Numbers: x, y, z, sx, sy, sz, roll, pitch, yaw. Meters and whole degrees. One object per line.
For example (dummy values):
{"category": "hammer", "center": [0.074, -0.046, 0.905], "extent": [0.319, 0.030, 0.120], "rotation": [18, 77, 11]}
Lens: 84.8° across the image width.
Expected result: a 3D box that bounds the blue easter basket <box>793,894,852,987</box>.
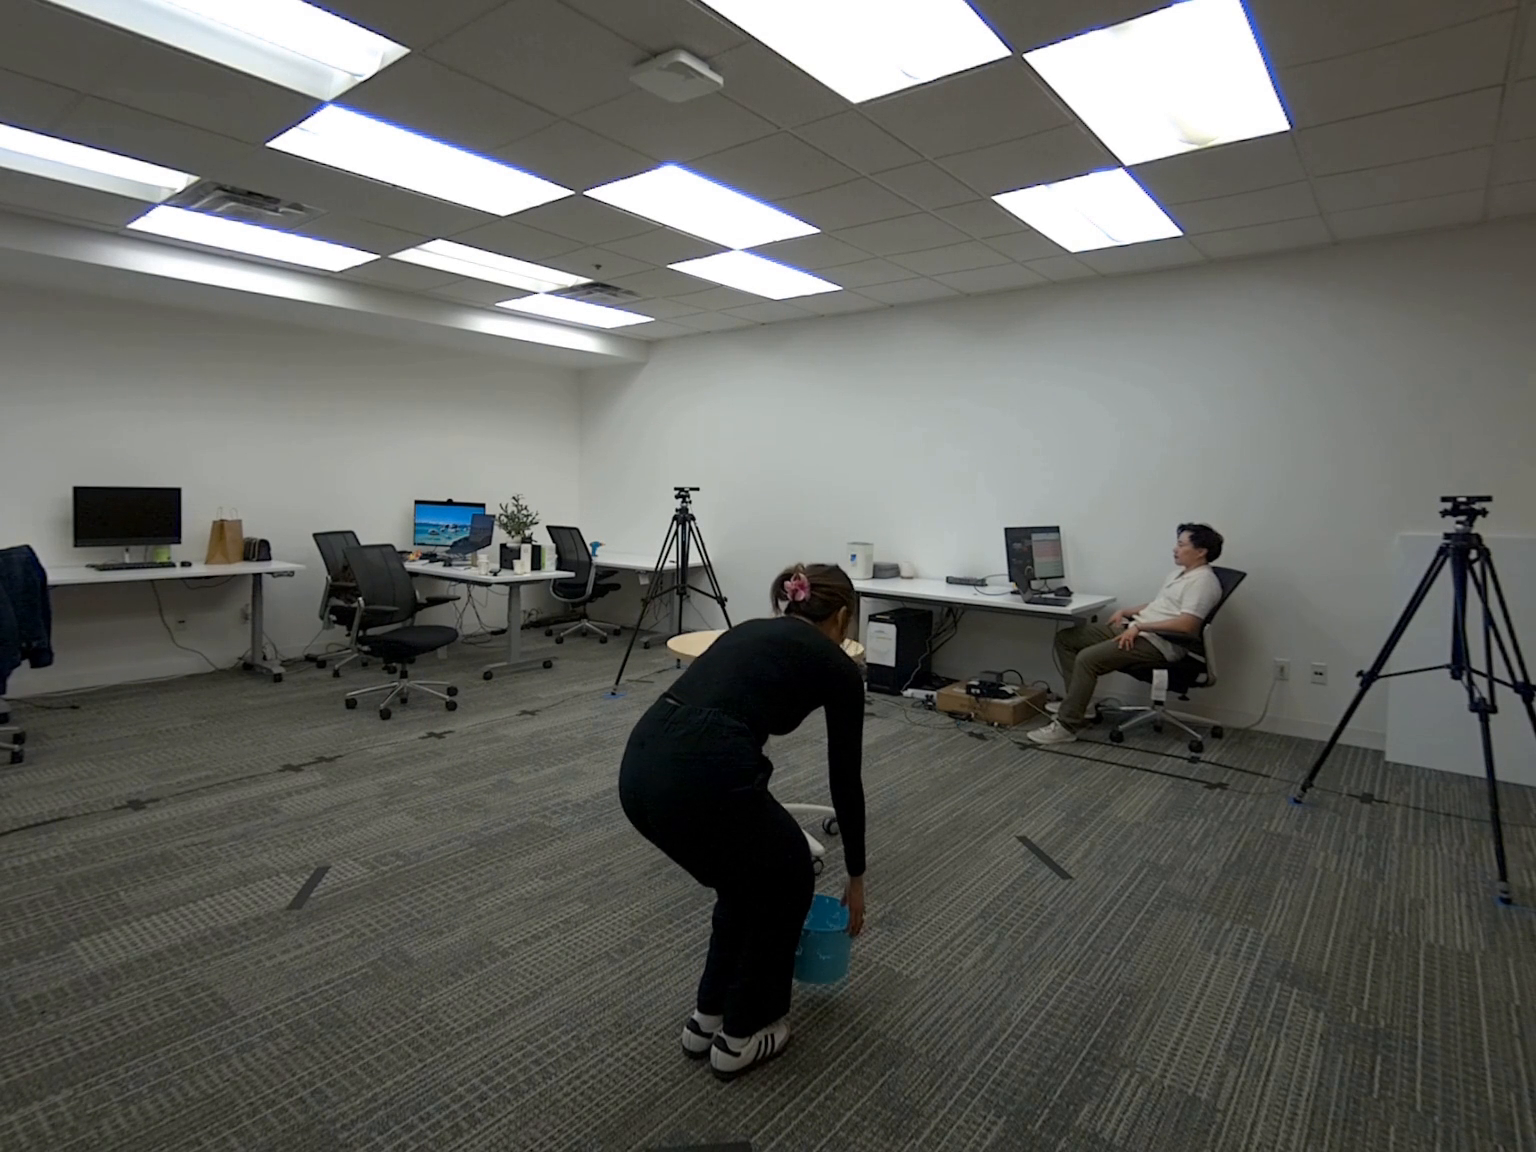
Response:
{"category": "blue easter basket", "center": [0.114, 0.975, 2.308], "extent": [0.243, 0.156, 0.244], "rotation": [4, 2, -2]}
